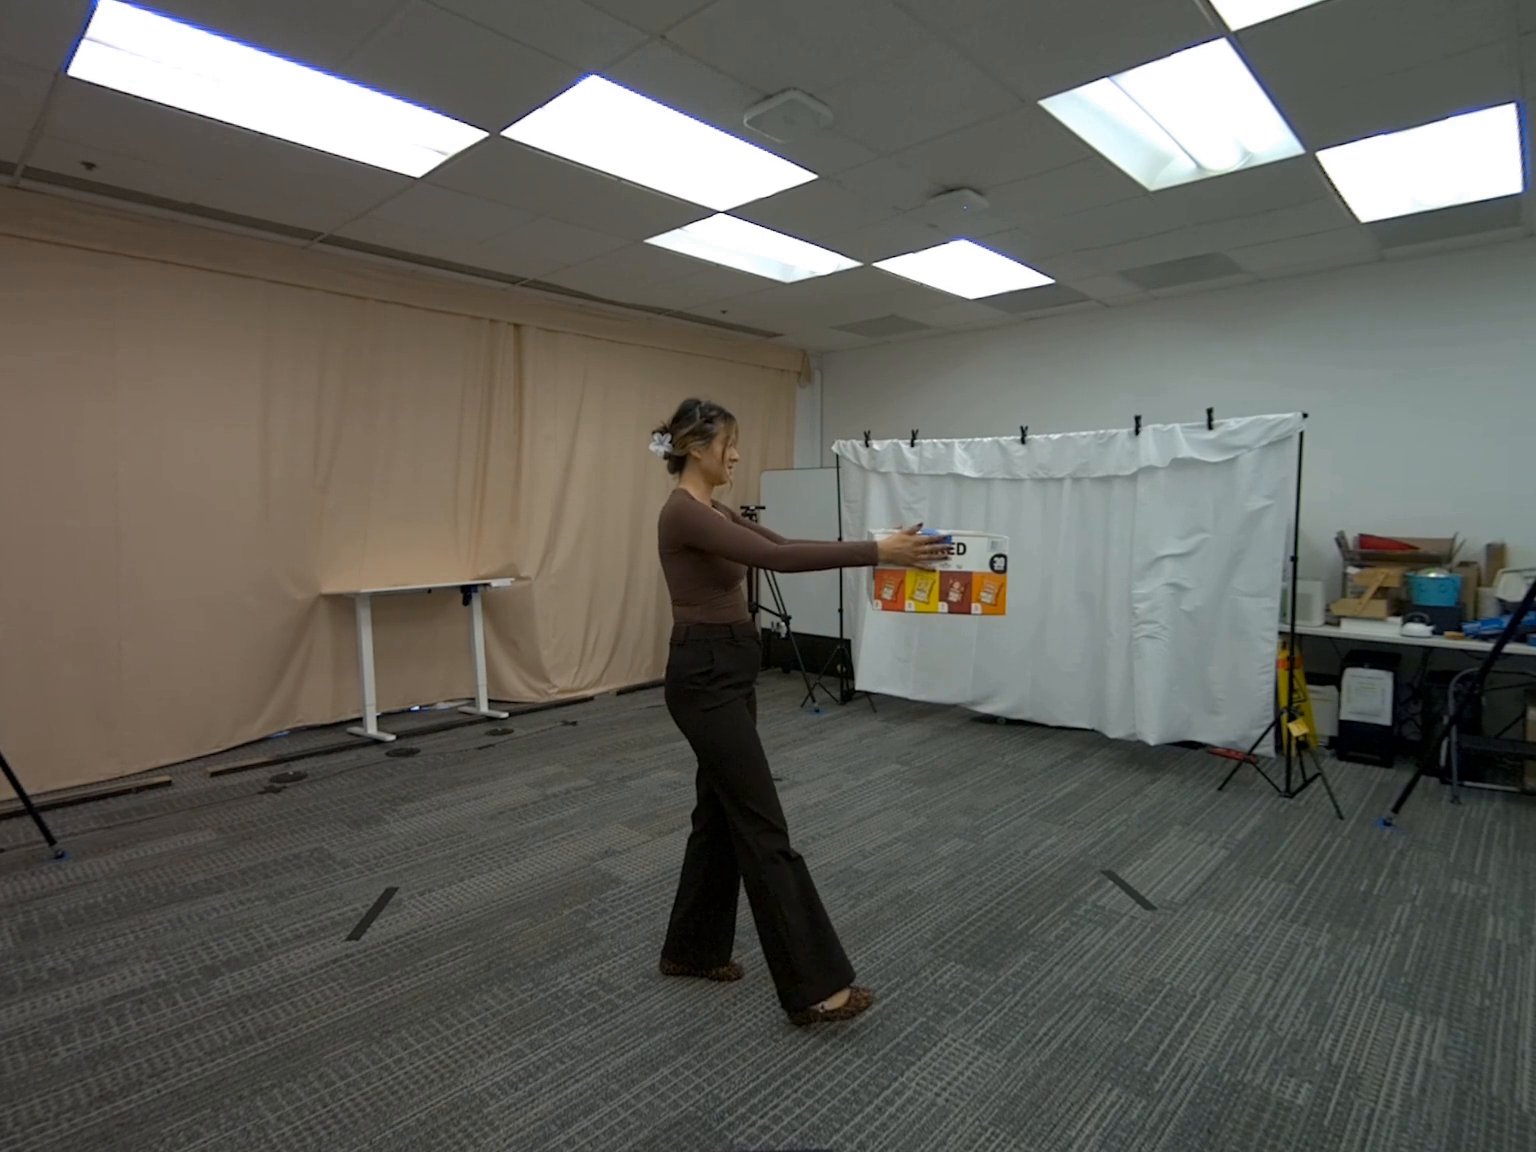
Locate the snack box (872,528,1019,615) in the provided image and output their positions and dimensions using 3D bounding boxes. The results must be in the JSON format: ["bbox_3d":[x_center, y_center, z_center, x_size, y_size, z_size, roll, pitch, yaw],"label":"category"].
[{"bbox_3d":[0.471,-0.025,2.348,0.343,0.205,0.403,1,3,6],"label":"snack box"}]
